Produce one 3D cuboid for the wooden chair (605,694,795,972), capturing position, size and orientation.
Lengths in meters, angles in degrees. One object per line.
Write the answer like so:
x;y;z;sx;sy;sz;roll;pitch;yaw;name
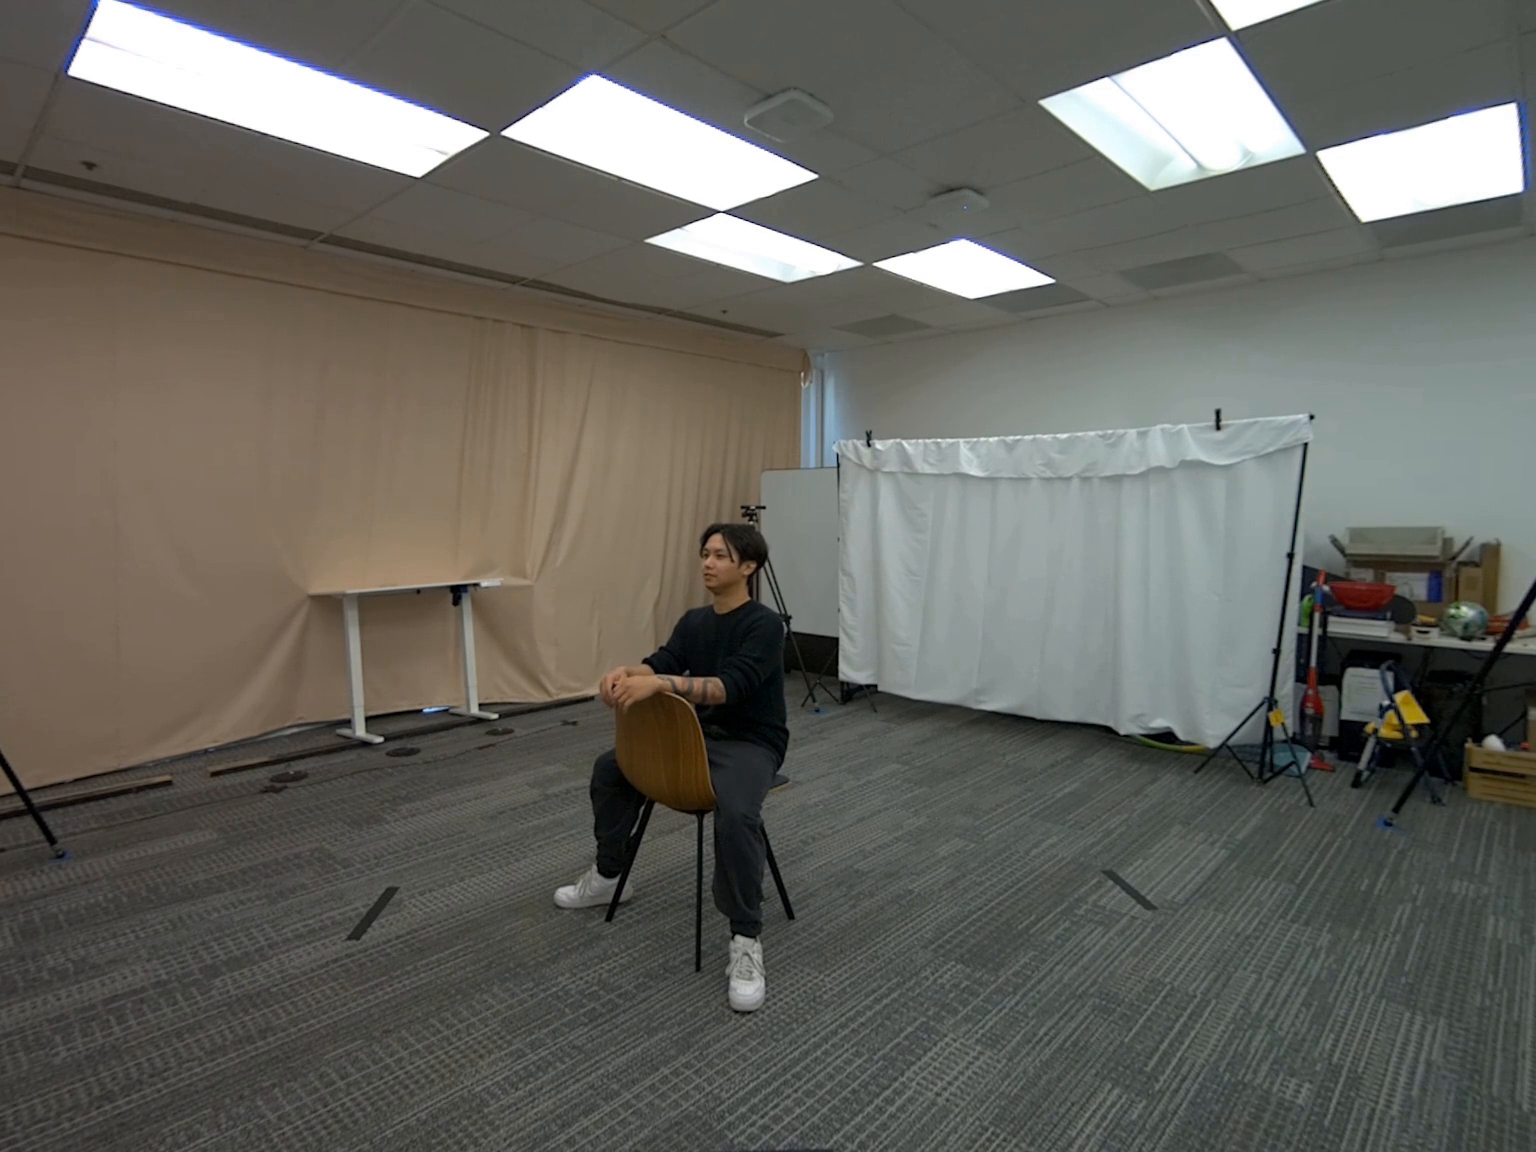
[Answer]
-0.219;0.728;2.817;0.494;0.874;0.508;2;8;44;wooden chair
